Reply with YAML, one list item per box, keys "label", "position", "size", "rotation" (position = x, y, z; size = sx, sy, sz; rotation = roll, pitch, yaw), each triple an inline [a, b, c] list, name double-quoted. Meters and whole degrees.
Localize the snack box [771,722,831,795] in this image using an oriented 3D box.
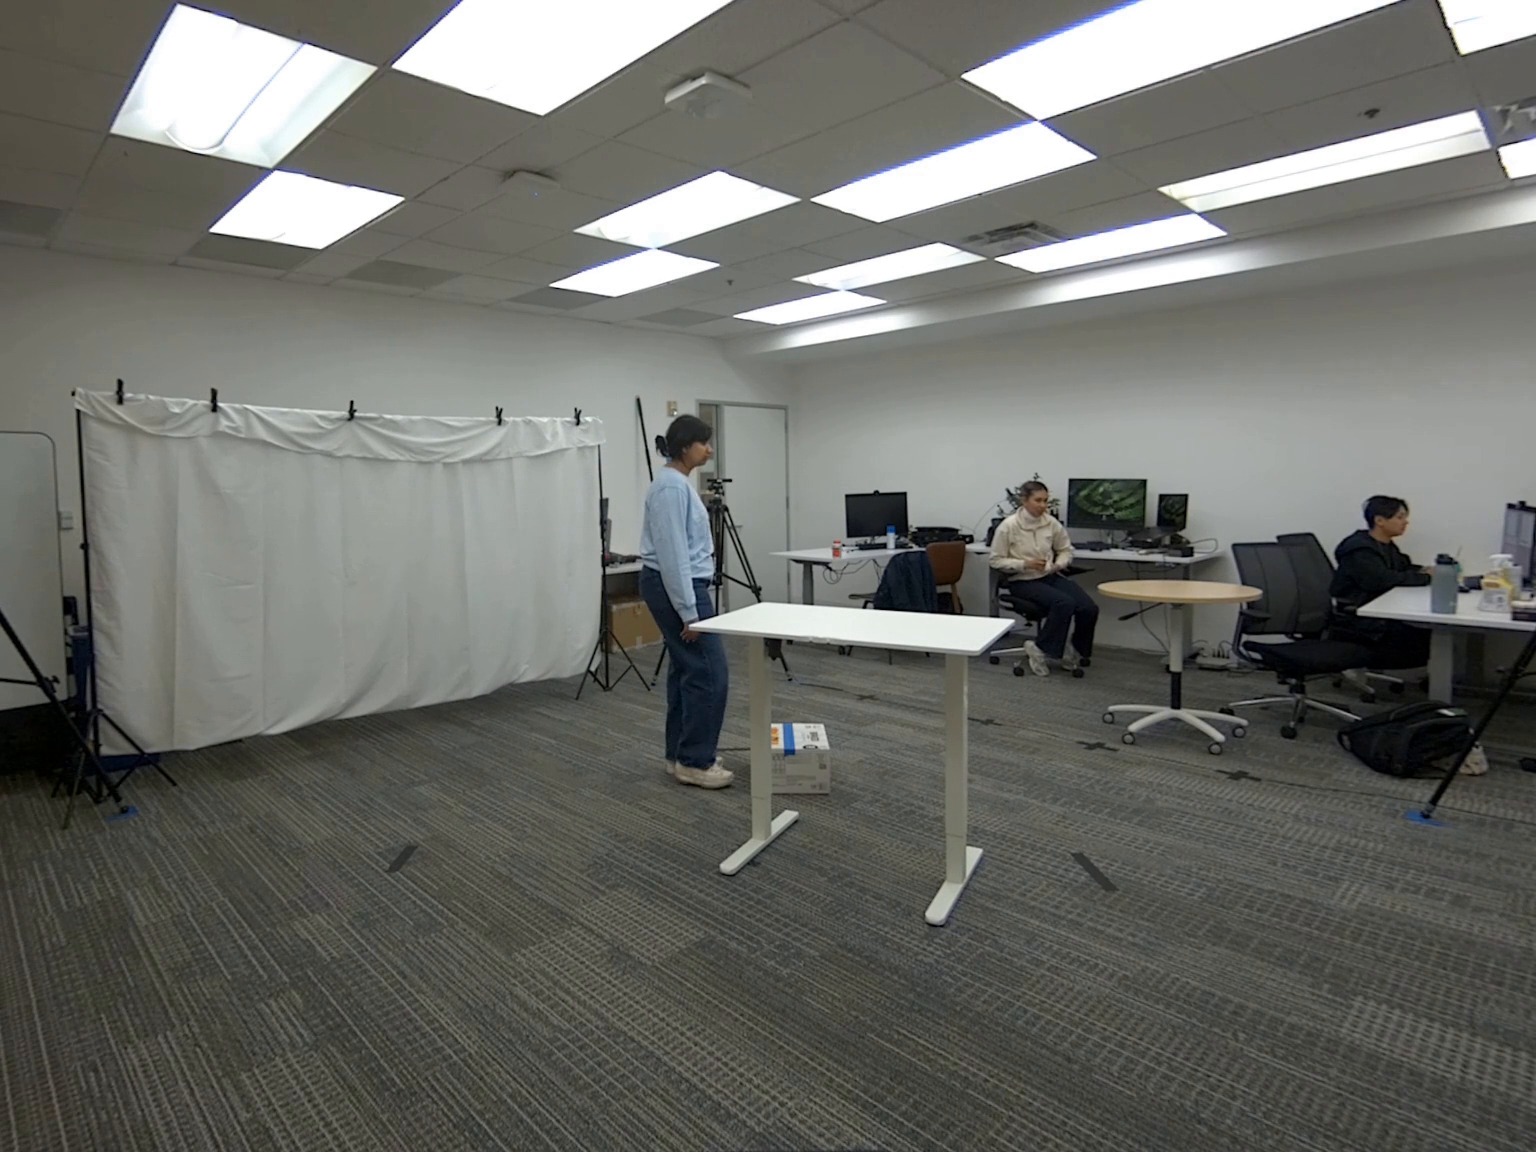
- label: "snack box"
  position: [0.098, 0.839, 3.966]
  size: [0.341, 0.205, 0.406]
  rotation: [-1, 5, 1]
